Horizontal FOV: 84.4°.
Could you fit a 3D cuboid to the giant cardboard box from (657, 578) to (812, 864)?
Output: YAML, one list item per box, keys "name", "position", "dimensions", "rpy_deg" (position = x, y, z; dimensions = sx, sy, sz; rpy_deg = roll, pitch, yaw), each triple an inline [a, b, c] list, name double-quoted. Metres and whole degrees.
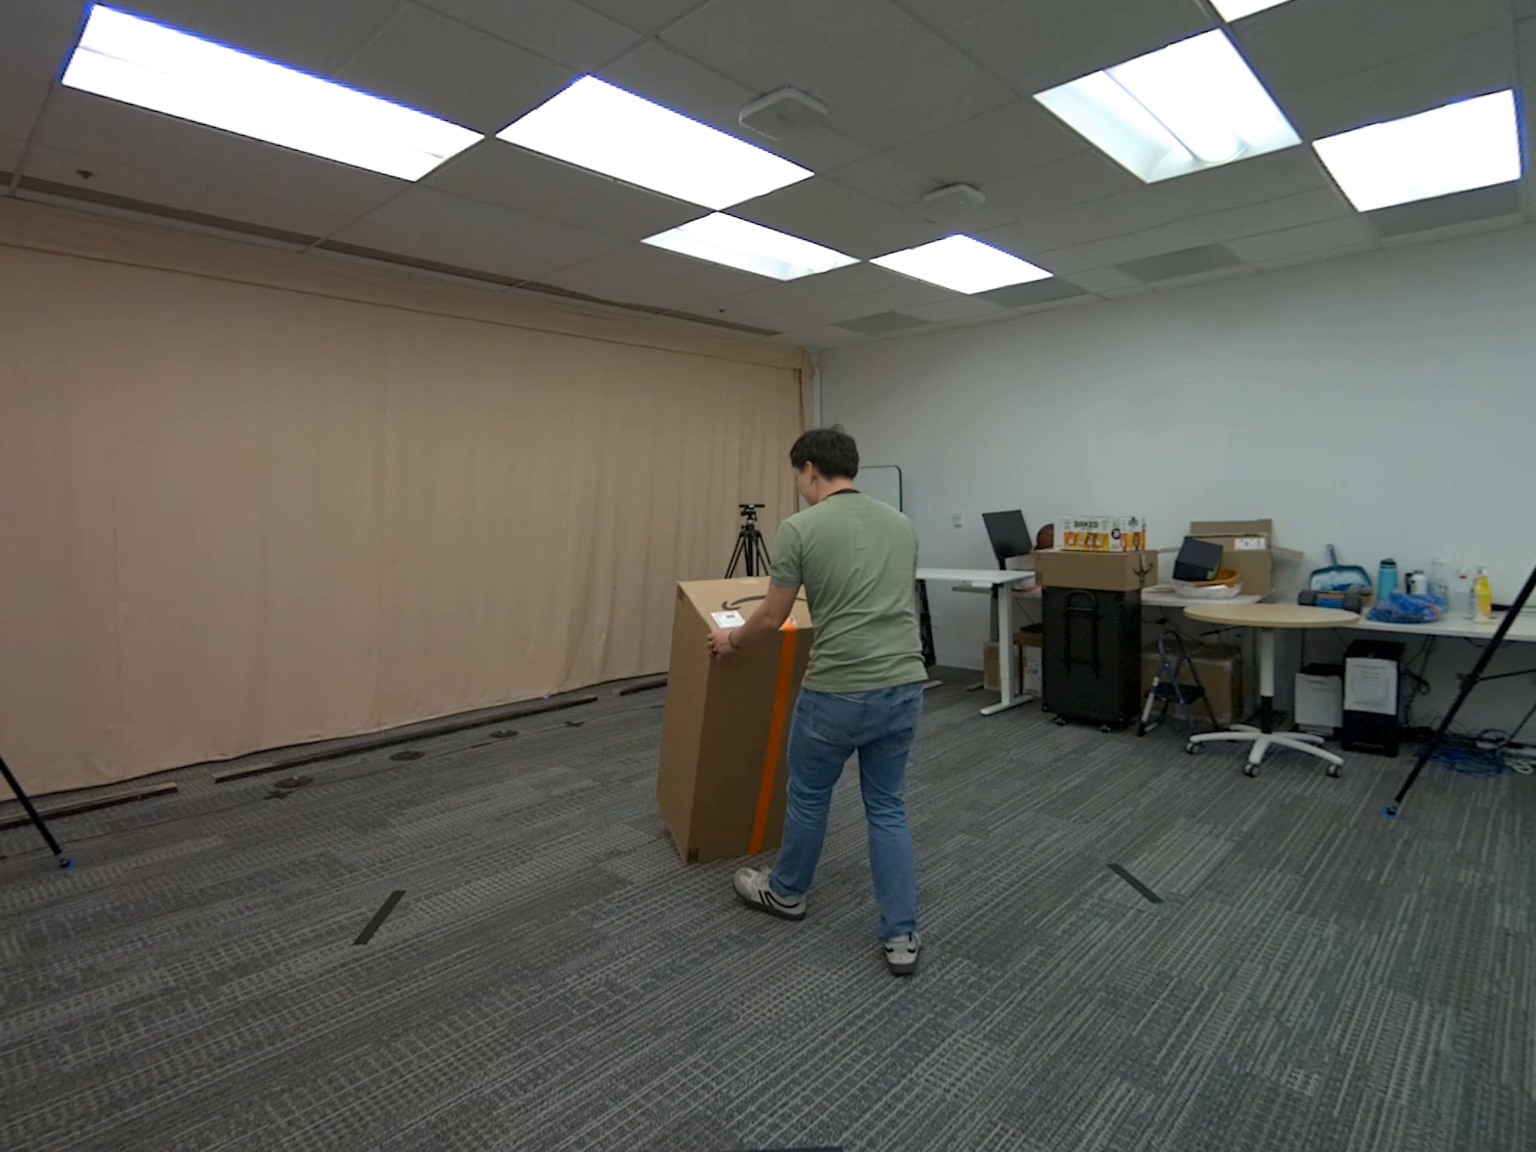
- name: "giant cardboard box"
  position: [-0.073, 0.560, 3.346]
  dimensions: [0.565, 1.015, 0.440]
  rpy_deg: [-2, 25, -23]
